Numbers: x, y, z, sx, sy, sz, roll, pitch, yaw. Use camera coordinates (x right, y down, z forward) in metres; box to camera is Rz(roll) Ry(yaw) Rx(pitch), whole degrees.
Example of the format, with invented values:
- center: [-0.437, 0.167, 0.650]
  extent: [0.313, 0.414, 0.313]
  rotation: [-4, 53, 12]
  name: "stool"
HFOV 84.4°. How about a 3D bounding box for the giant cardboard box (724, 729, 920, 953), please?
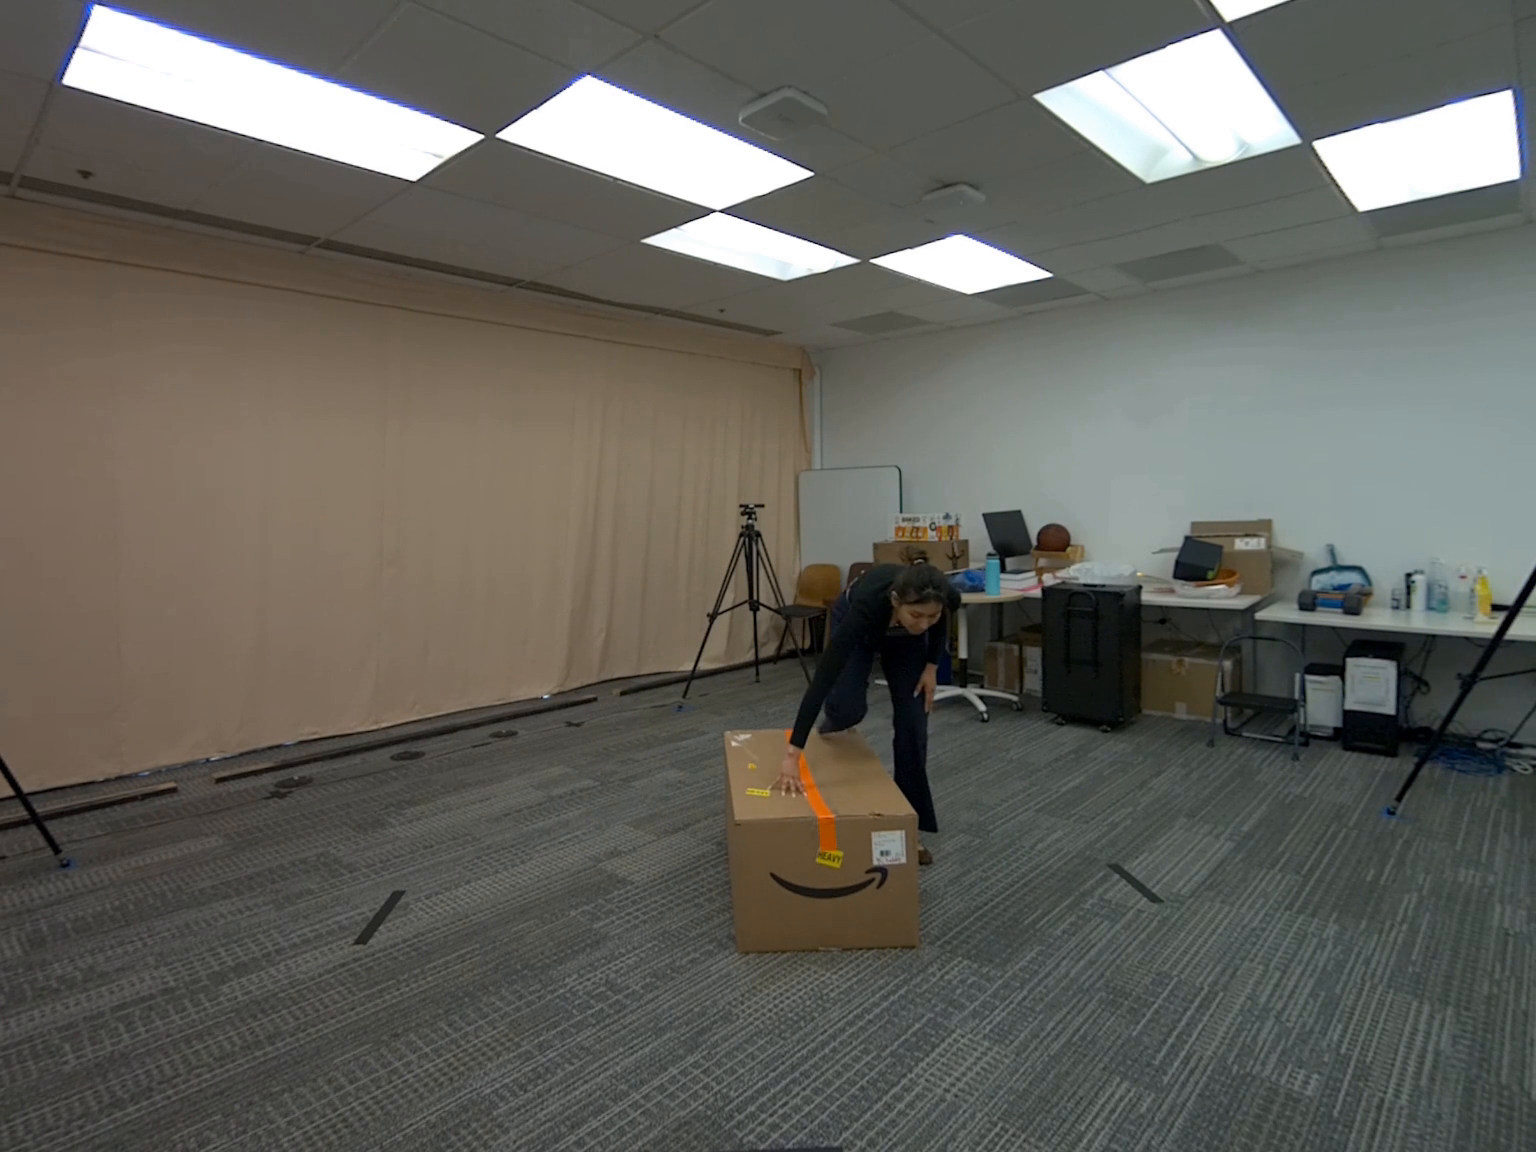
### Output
- center: [0.145, 0.912, 3.118]
  extent: [0.576, 0.425, 1.031]
  rotation: [-2, 5, -4]
  name: "giant cardboard box"
